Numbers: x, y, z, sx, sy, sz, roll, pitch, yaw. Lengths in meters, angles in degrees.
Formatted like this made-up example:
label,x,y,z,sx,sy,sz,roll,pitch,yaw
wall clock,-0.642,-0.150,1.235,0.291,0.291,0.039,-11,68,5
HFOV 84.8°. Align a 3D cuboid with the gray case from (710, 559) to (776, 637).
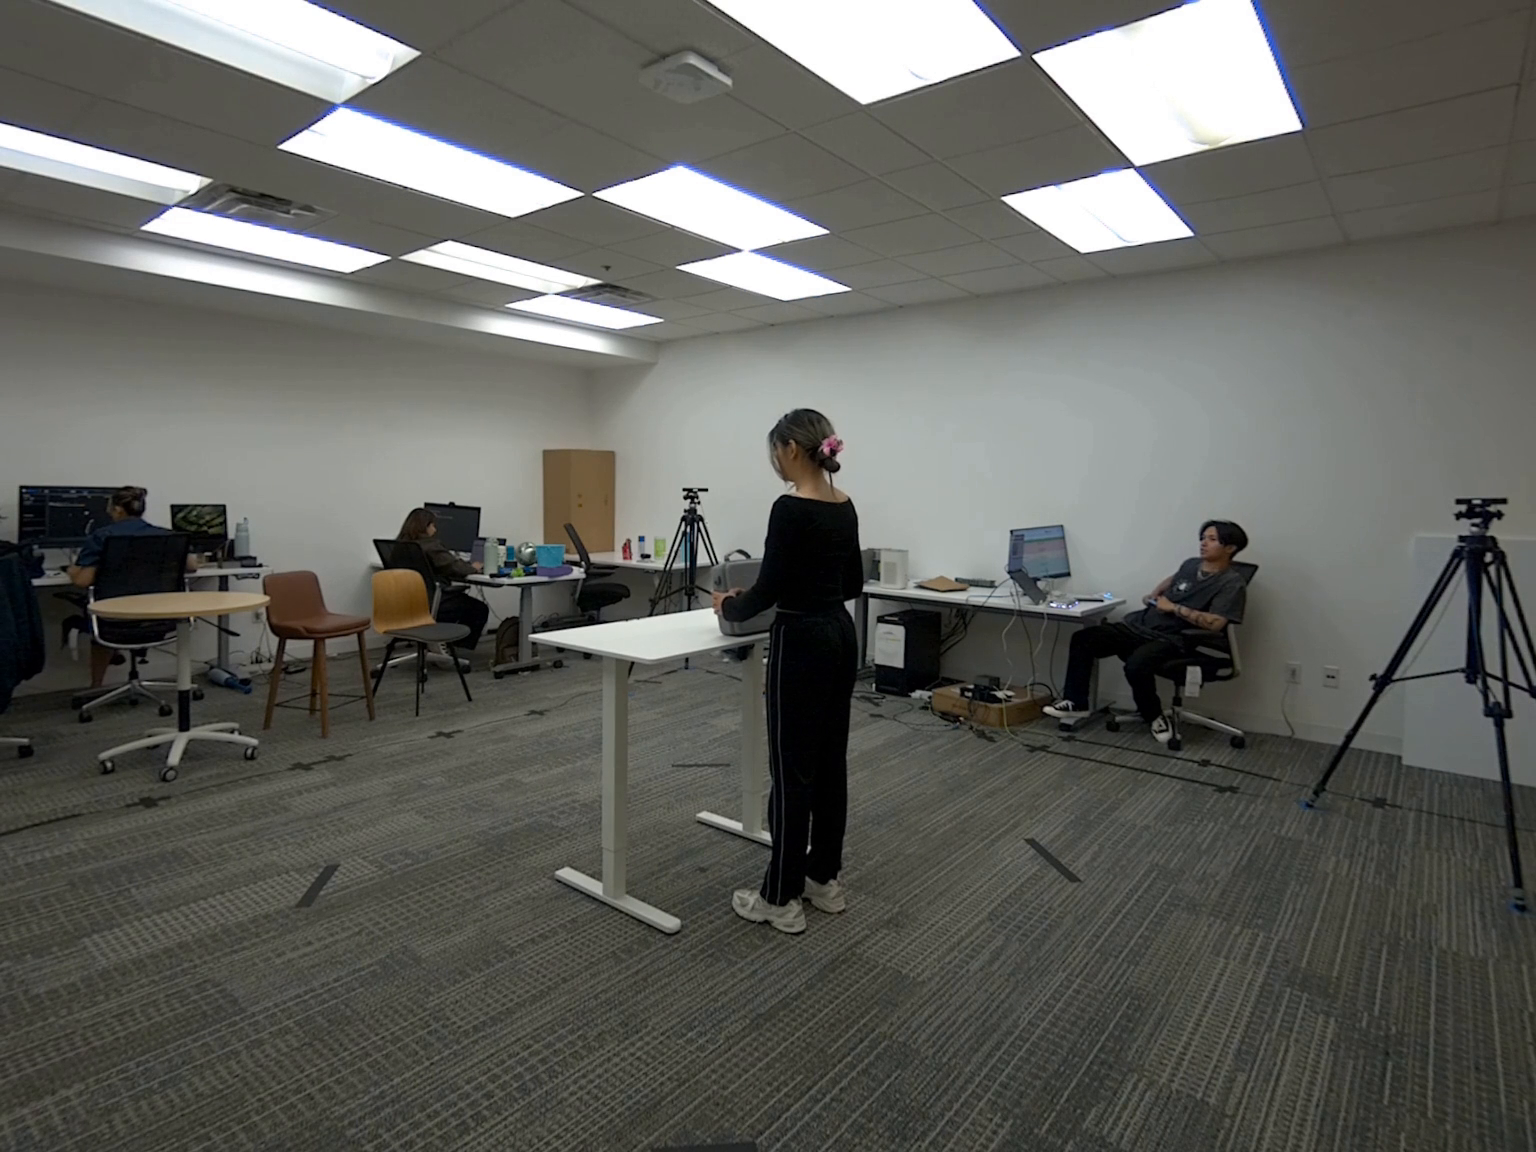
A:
label,x,y,z,sx,sy,sz,roll,pitch,yaw
gray case,-0.075,0.065,3.010,0.249,0.262,0.107,-4,-5,-43
